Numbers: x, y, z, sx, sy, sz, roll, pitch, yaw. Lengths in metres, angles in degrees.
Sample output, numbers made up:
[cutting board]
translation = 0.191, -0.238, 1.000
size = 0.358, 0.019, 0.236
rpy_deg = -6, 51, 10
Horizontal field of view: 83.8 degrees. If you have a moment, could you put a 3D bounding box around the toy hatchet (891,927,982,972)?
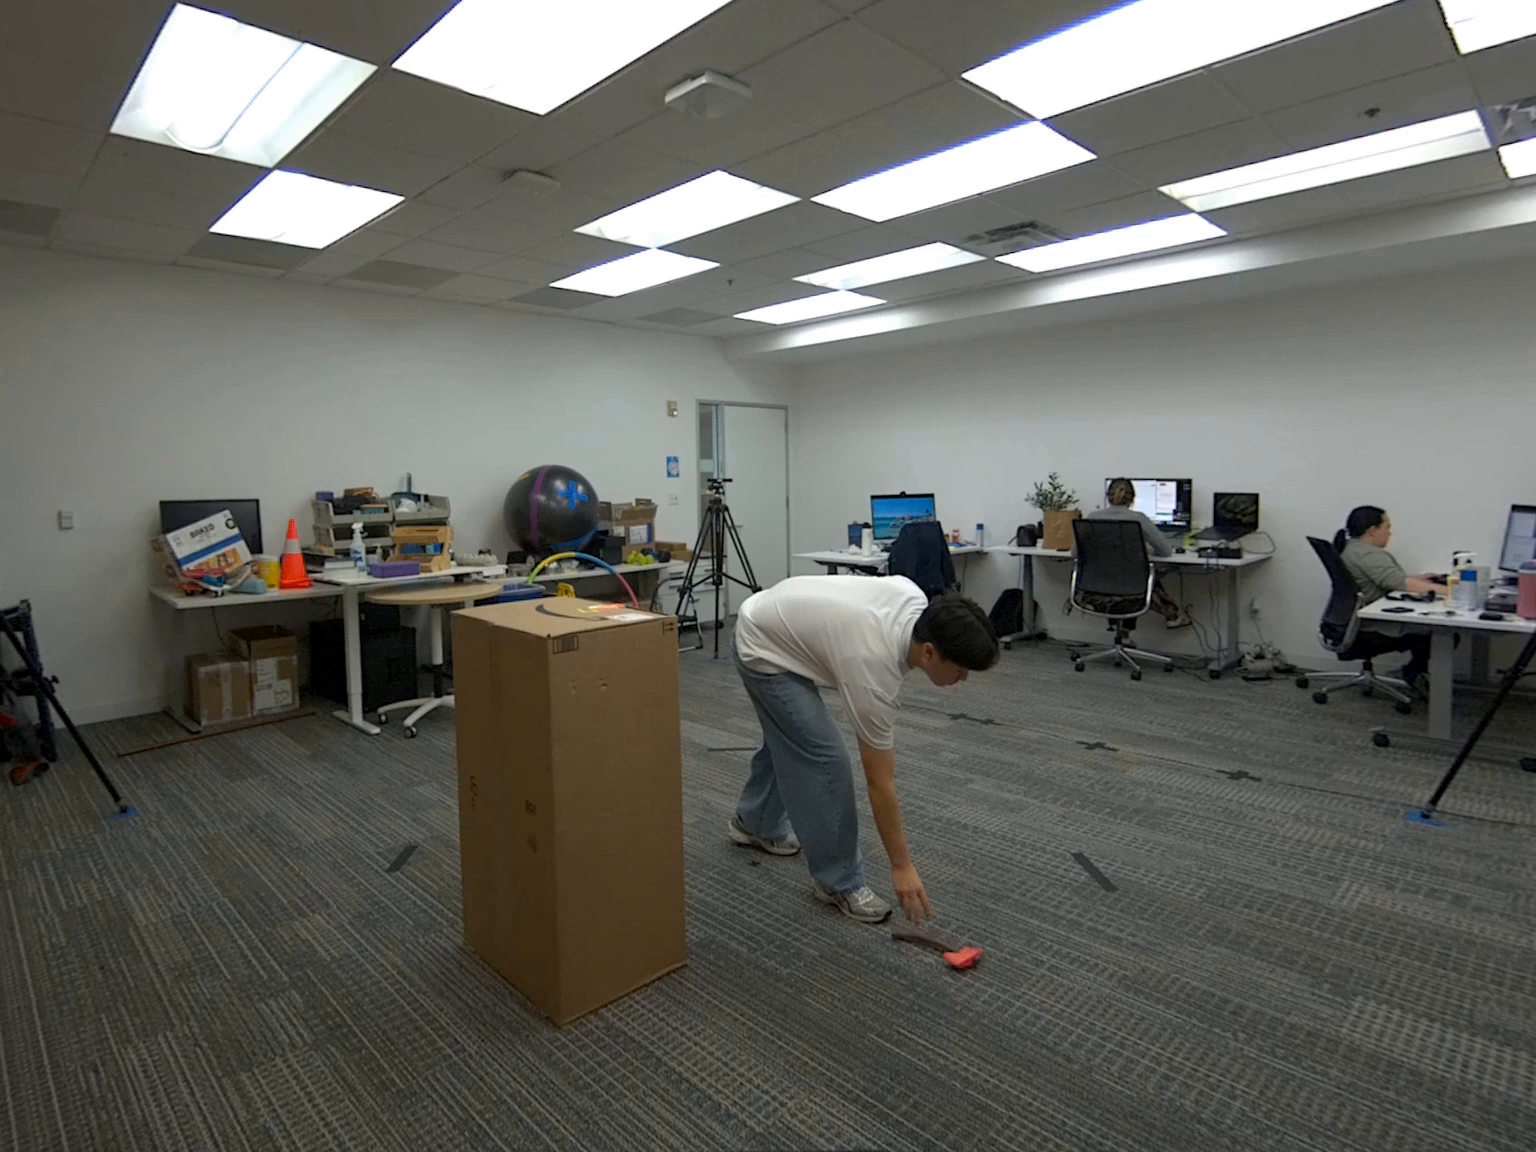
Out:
[toy hatchet]
translation = 0.484, 1.059, 2.476
size = 0.277, 0.029, 0.129
rpy_deg = 0, 14, 31
